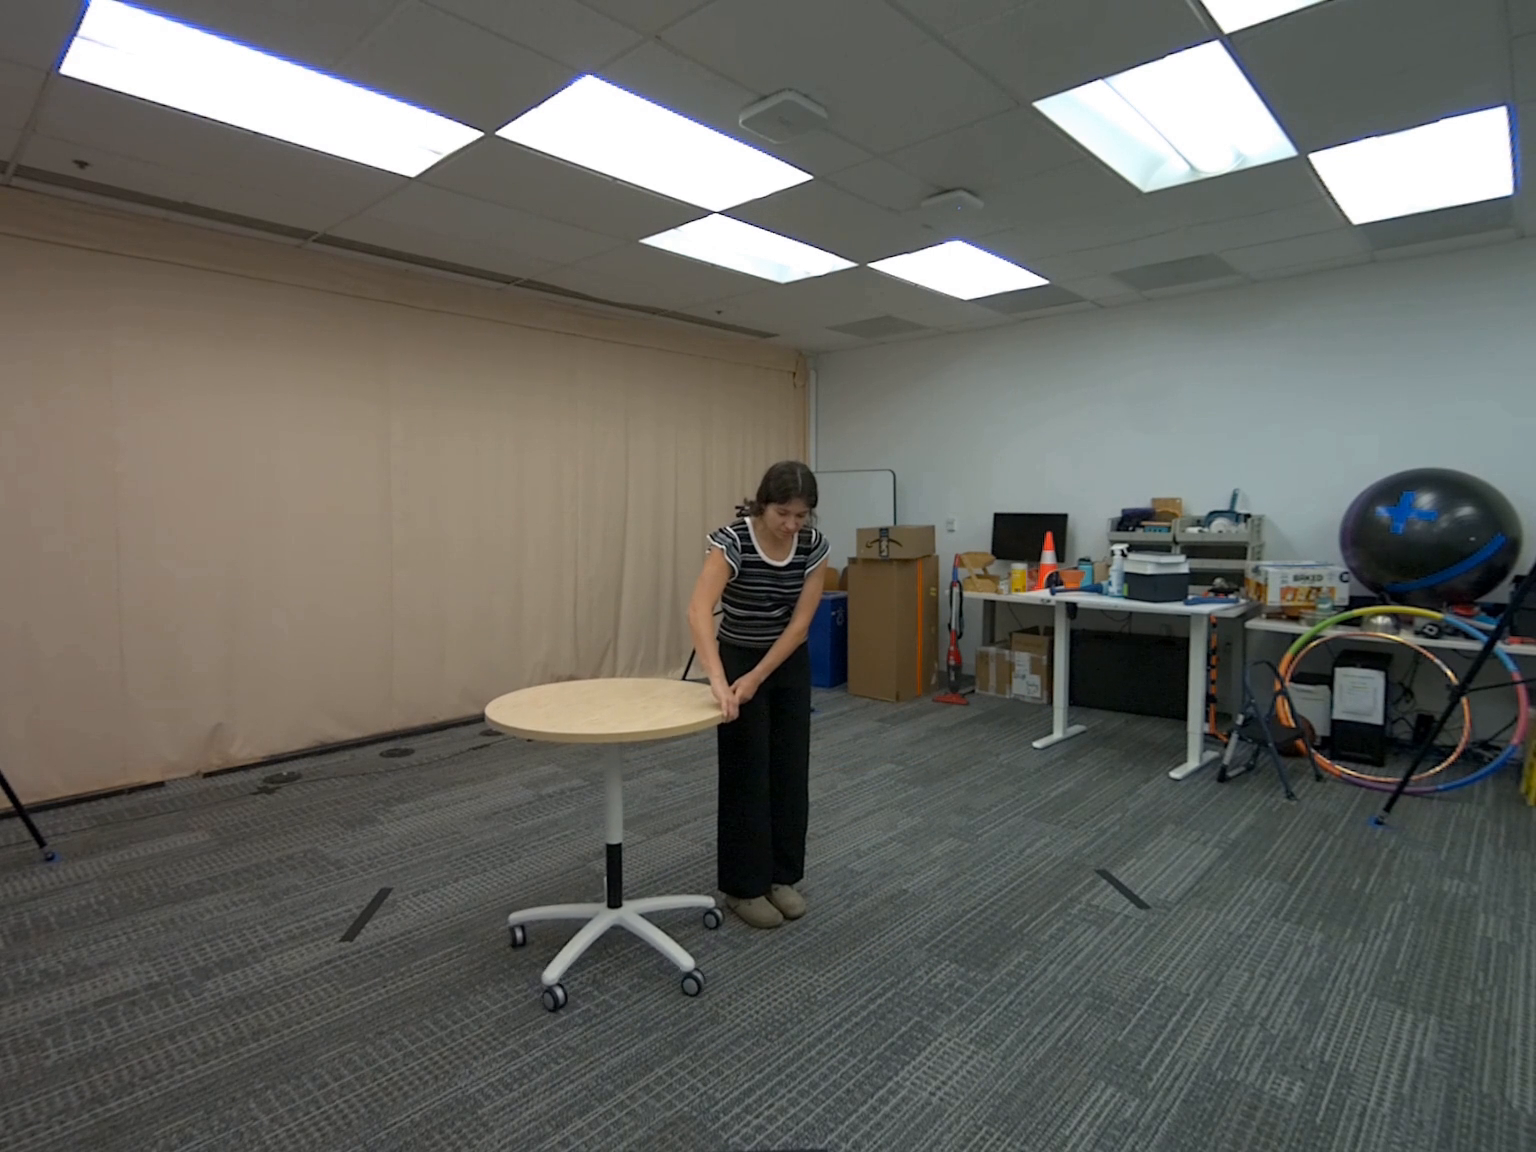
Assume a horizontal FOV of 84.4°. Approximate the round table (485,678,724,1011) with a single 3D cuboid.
[{"bbox_3d":[-0.465,0.782,2.629,0.784,0.785,0.788,-1,4,-2],"label":"round table"}]
